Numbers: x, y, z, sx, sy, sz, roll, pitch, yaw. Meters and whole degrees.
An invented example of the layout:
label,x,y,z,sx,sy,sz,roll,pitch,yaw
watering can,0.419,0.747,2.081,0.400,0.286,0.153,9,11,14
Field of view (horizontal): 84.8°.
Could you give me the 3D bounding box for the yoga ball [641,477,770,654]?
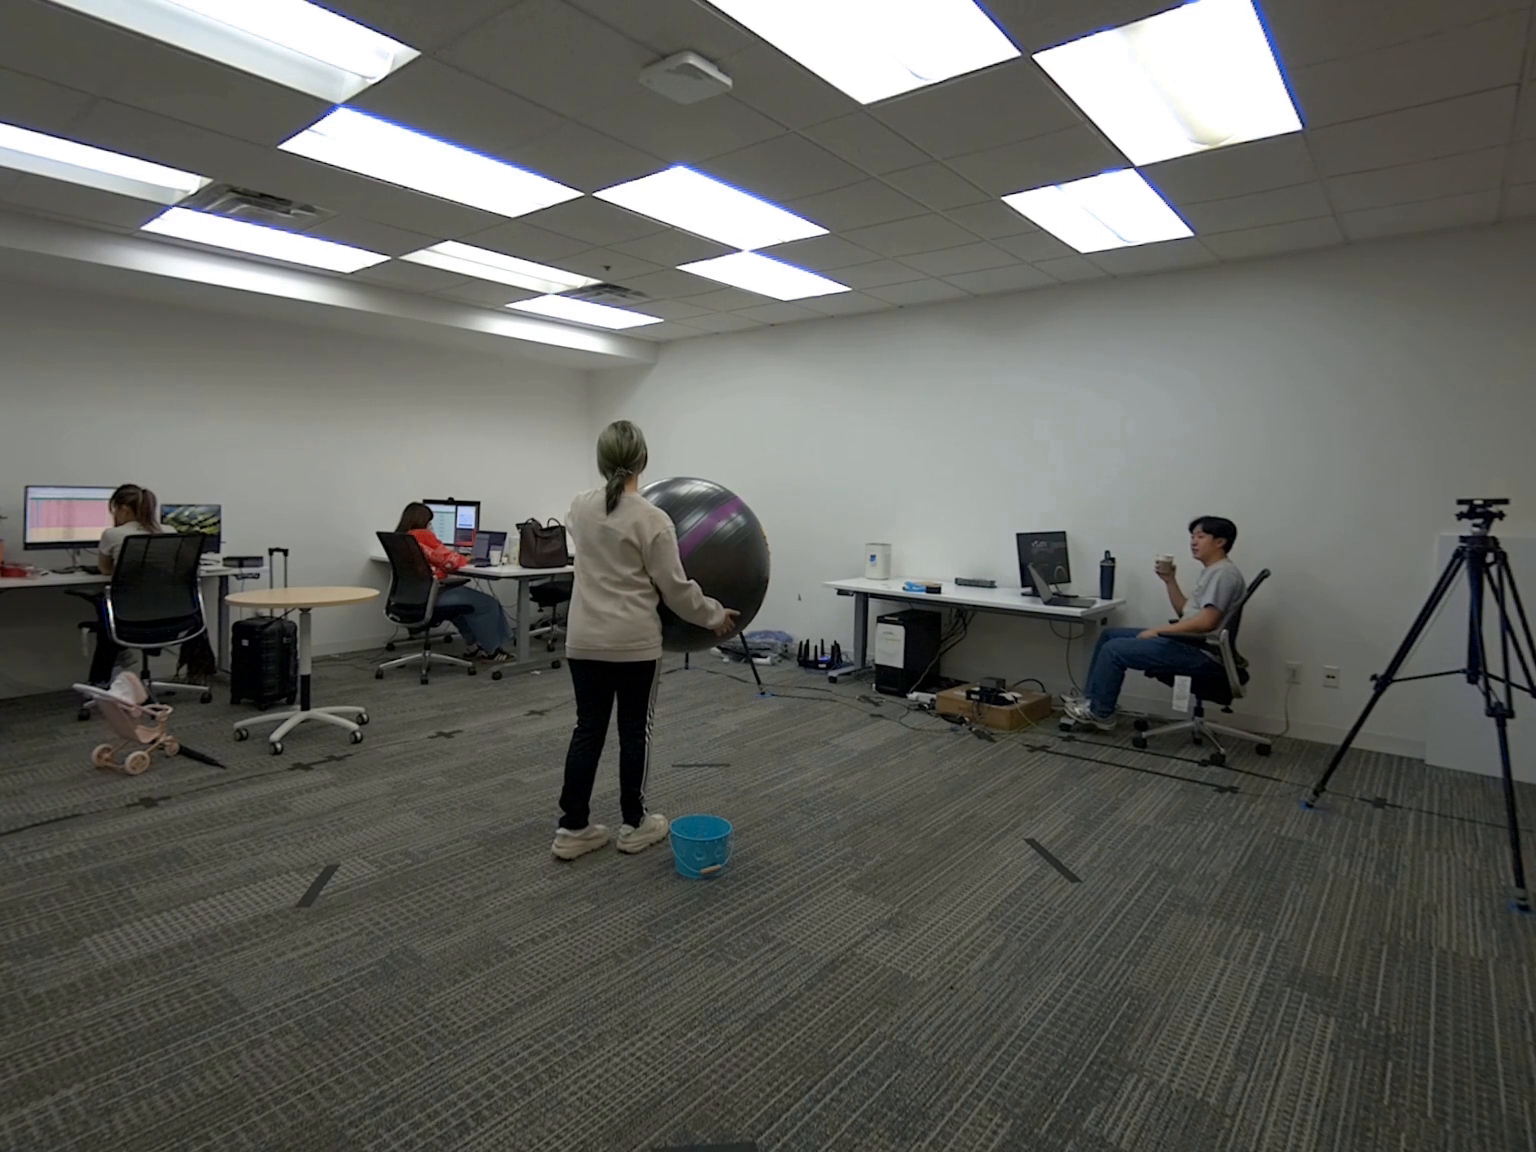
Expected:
label,x,y,z,sx,sy,sz,roll,pitch,yaw
yoga ball,-0.371,-0.044,3.687,0.757,0.756,0.762,1,4,-2
